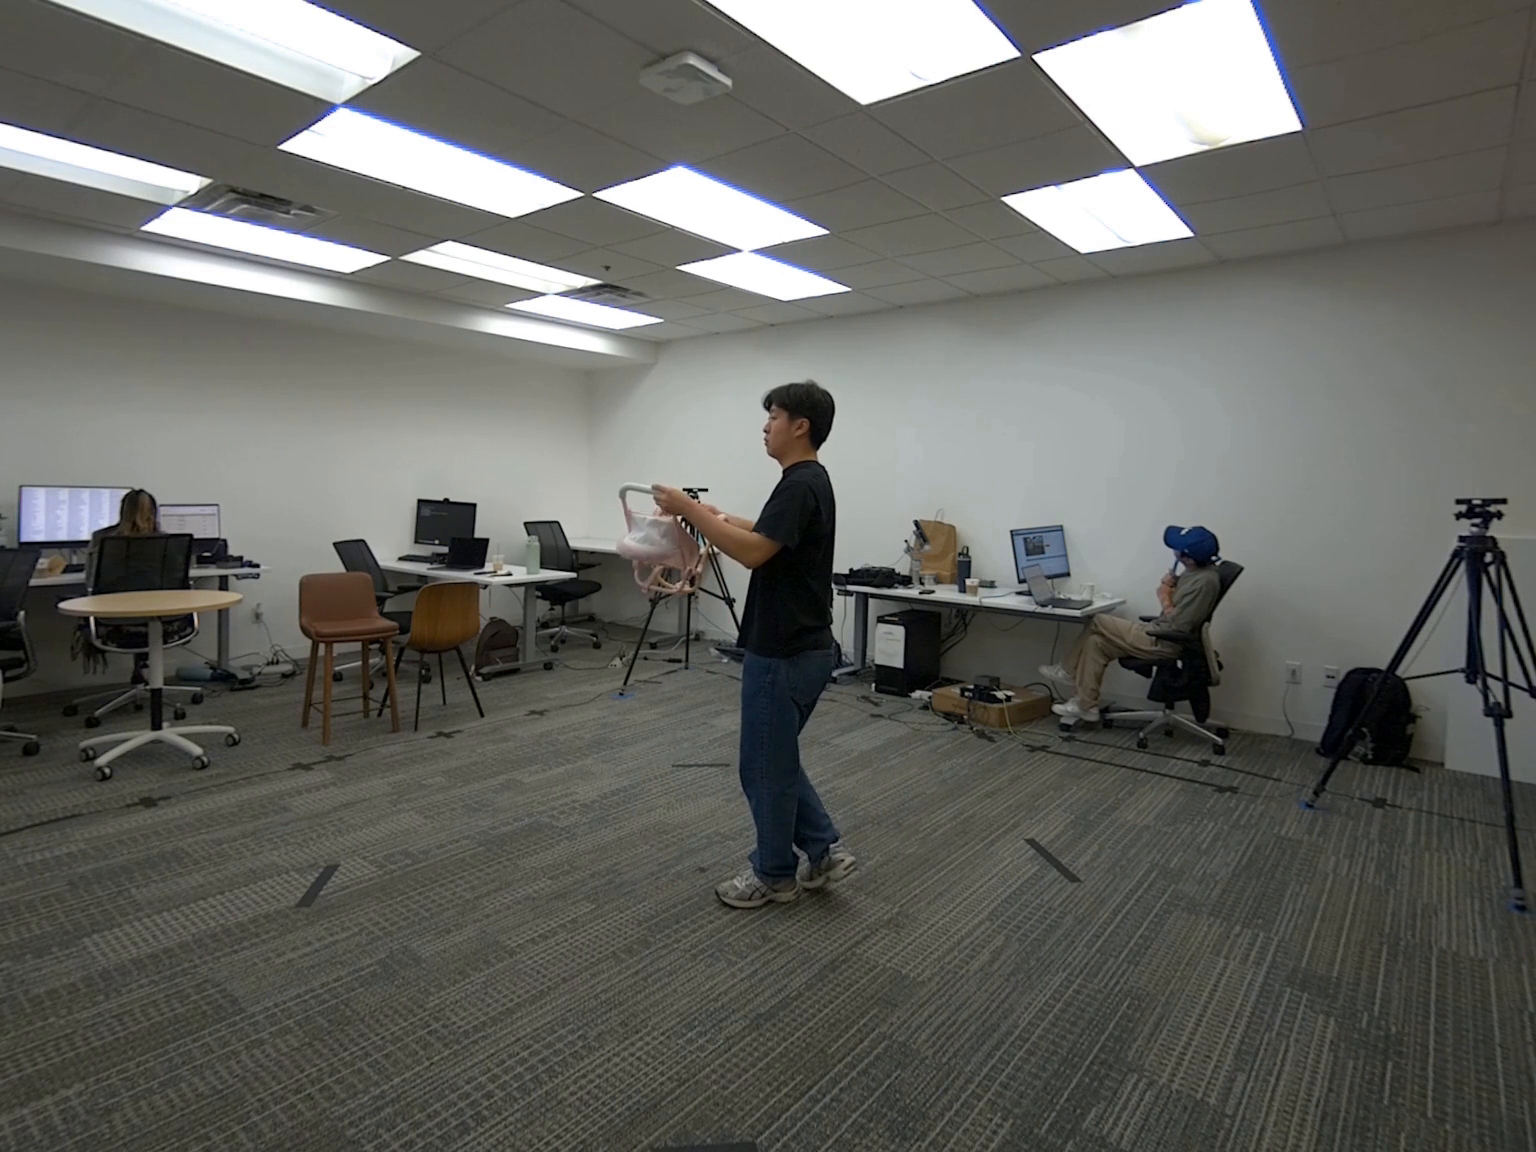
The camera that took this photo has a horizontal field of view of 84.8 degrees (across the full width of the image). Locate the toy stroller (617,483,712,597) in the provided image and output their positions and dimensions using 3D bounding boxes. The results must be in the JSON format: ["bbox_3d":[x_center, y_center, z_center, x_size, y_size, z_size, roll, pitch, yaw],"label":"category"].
[{"bbox_3d":[-0.363,-0.104,2.944,0.288,0.342,0.521,15,-2,18],"label":"toy stroller"}]
